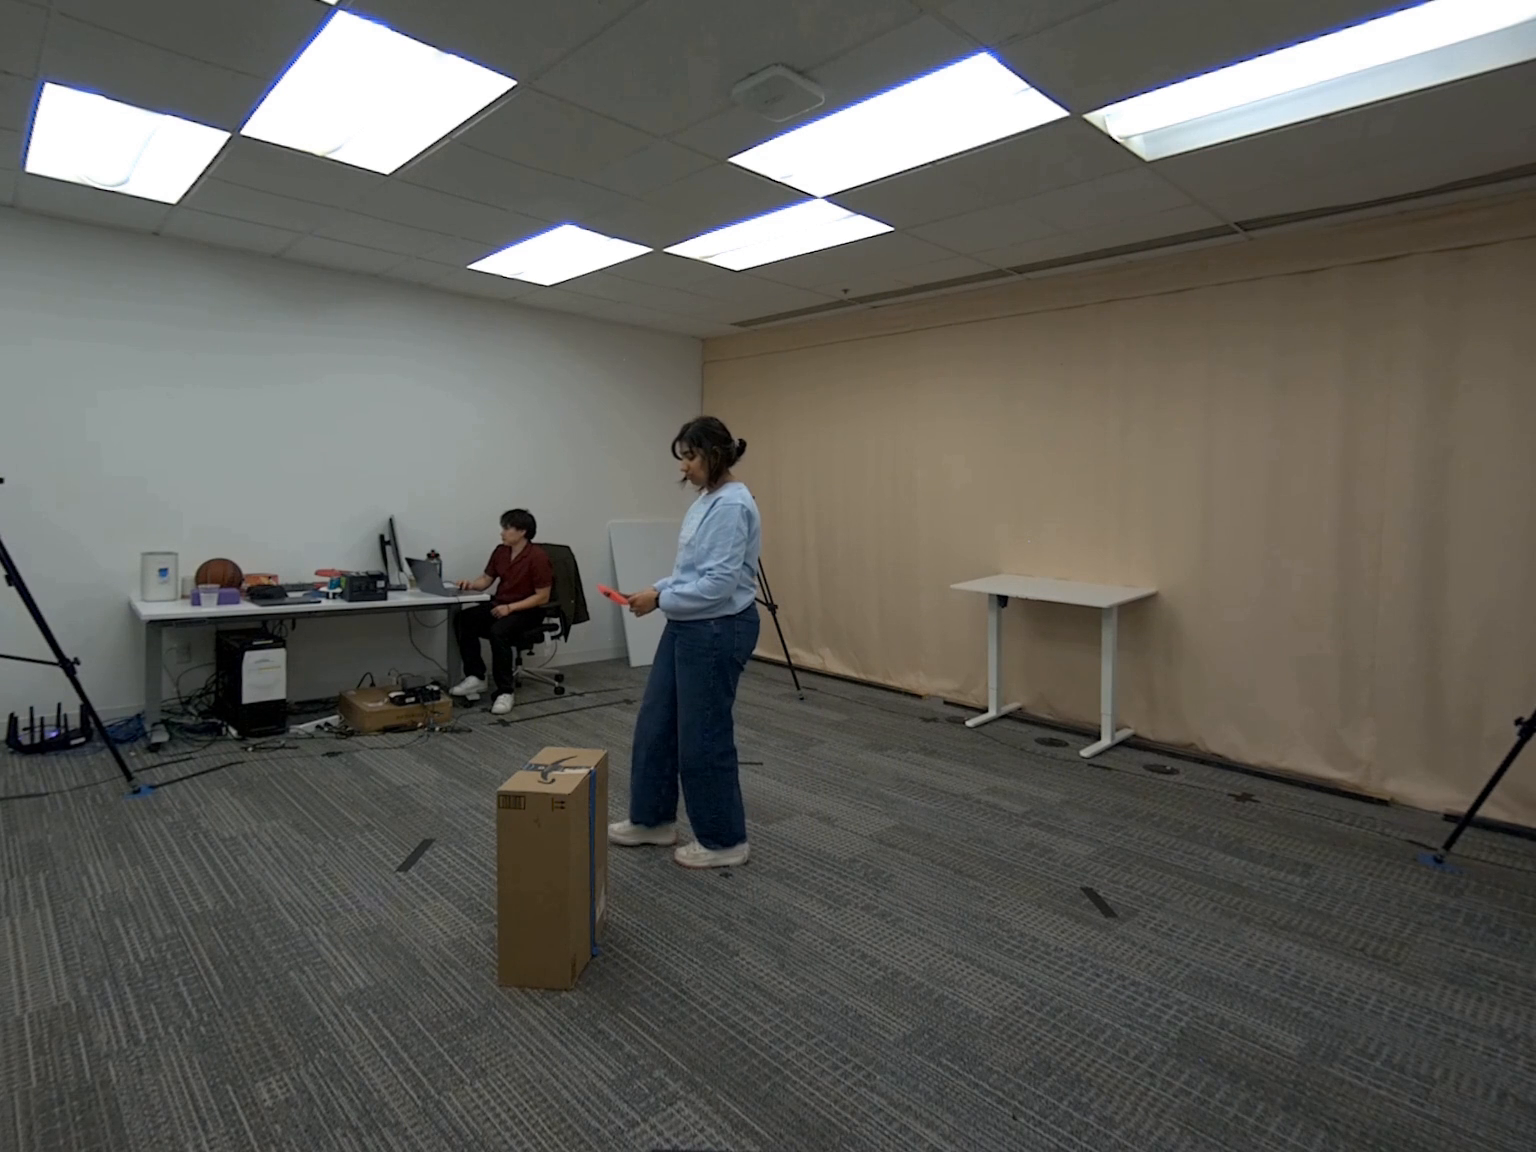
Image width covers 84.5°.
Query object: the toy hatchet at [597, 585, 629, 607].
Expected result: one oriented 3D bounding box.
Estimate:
[{"bbox_3d":[-0.498,0.089,3.082,0.135,0.029,0.262,27,-1,43],"label":"toy hatchet"}]
